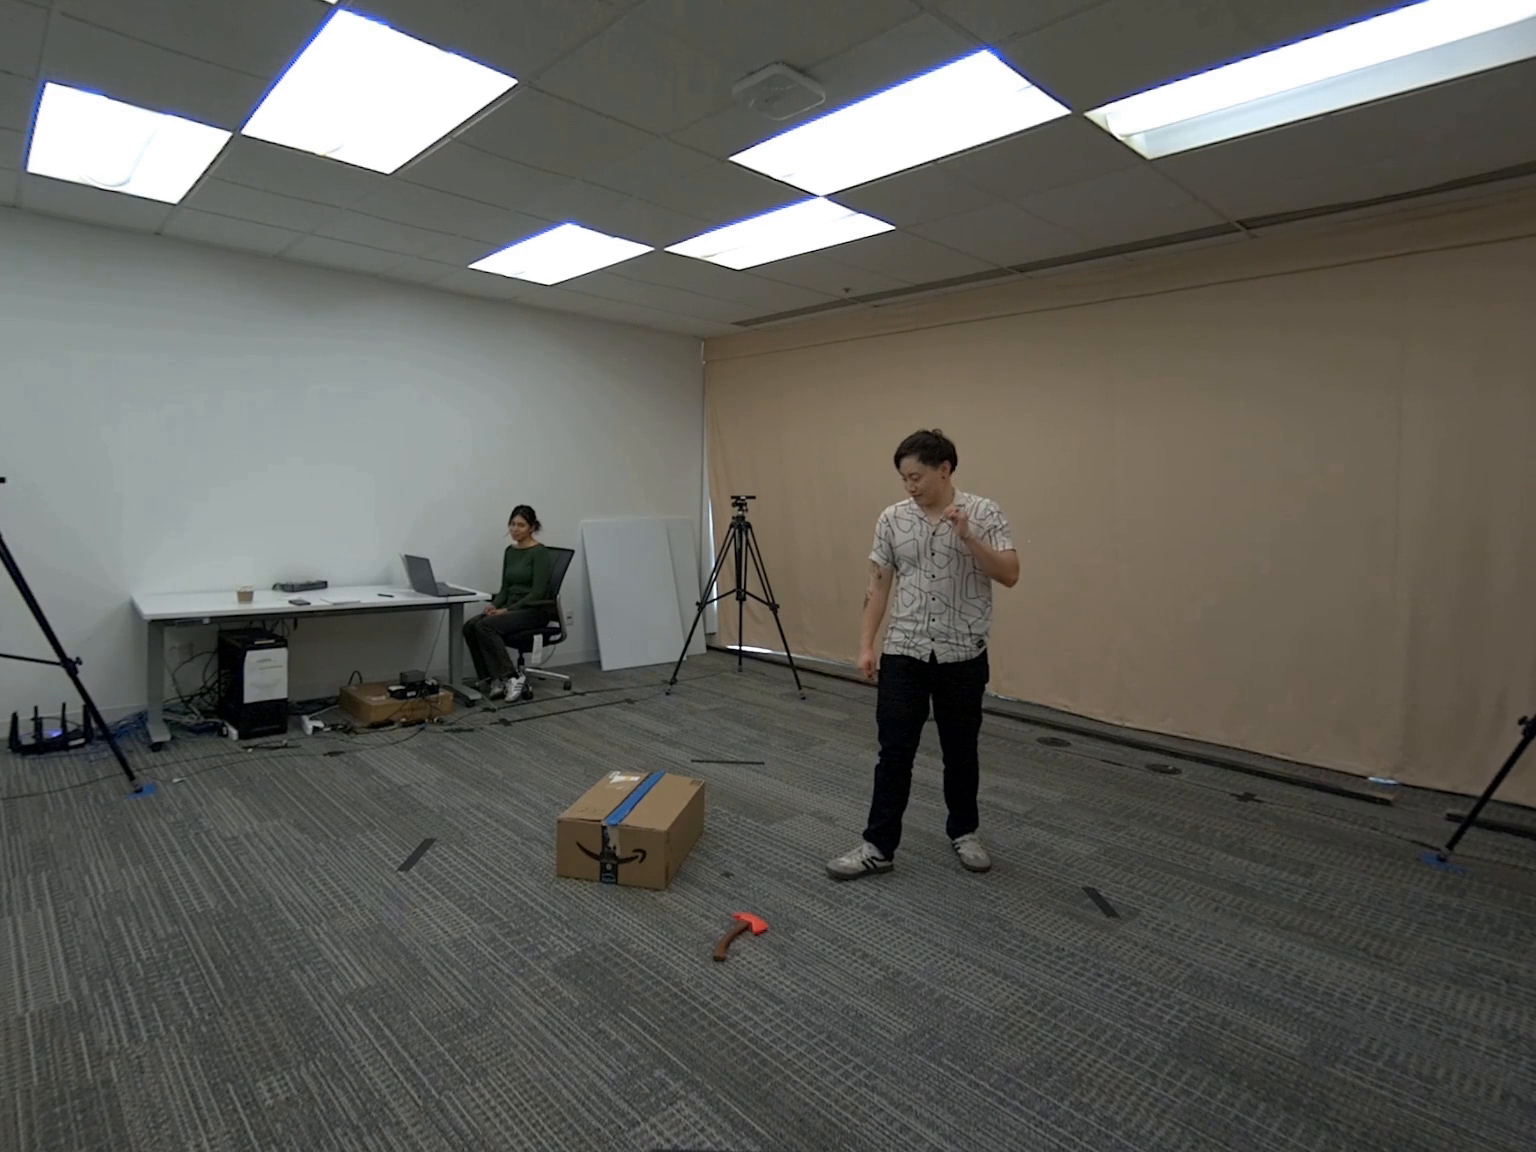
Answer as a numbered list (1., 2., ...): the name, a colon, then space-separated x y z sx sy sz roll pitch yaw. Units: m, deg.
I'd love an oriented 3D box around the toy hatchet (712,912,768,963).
1. toy hatchet: -0.087 1.136 2.630 0.132 0.029 0.268 5 7 11
